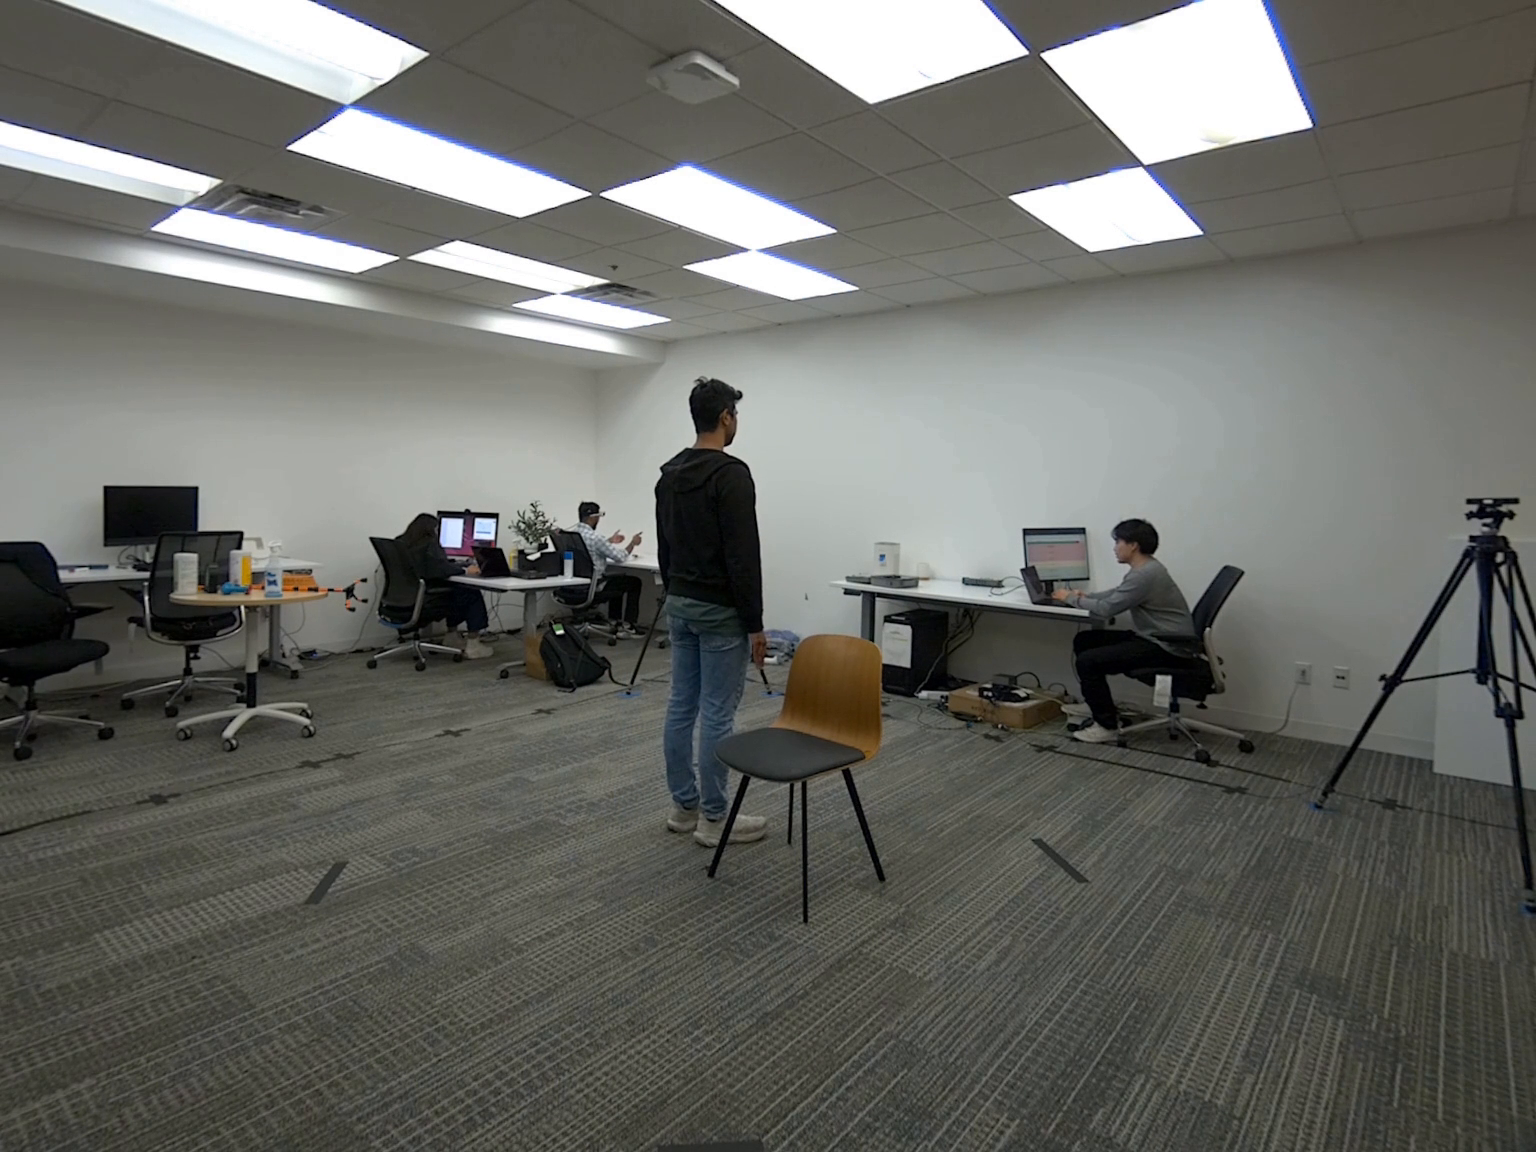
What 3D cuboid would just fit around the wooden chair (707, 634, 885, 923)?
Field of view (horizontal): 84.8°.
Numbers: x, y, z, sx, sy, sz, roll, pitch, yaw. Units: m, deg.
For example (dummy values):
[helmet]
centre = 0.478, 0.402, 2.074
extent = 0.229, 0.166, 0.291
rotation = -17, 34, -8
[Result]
[wooden chair]
centre = 0.101, 0.657, 3.008
extent = 0.494, 0.877, 0.505
rotation = 5, 0, 43
